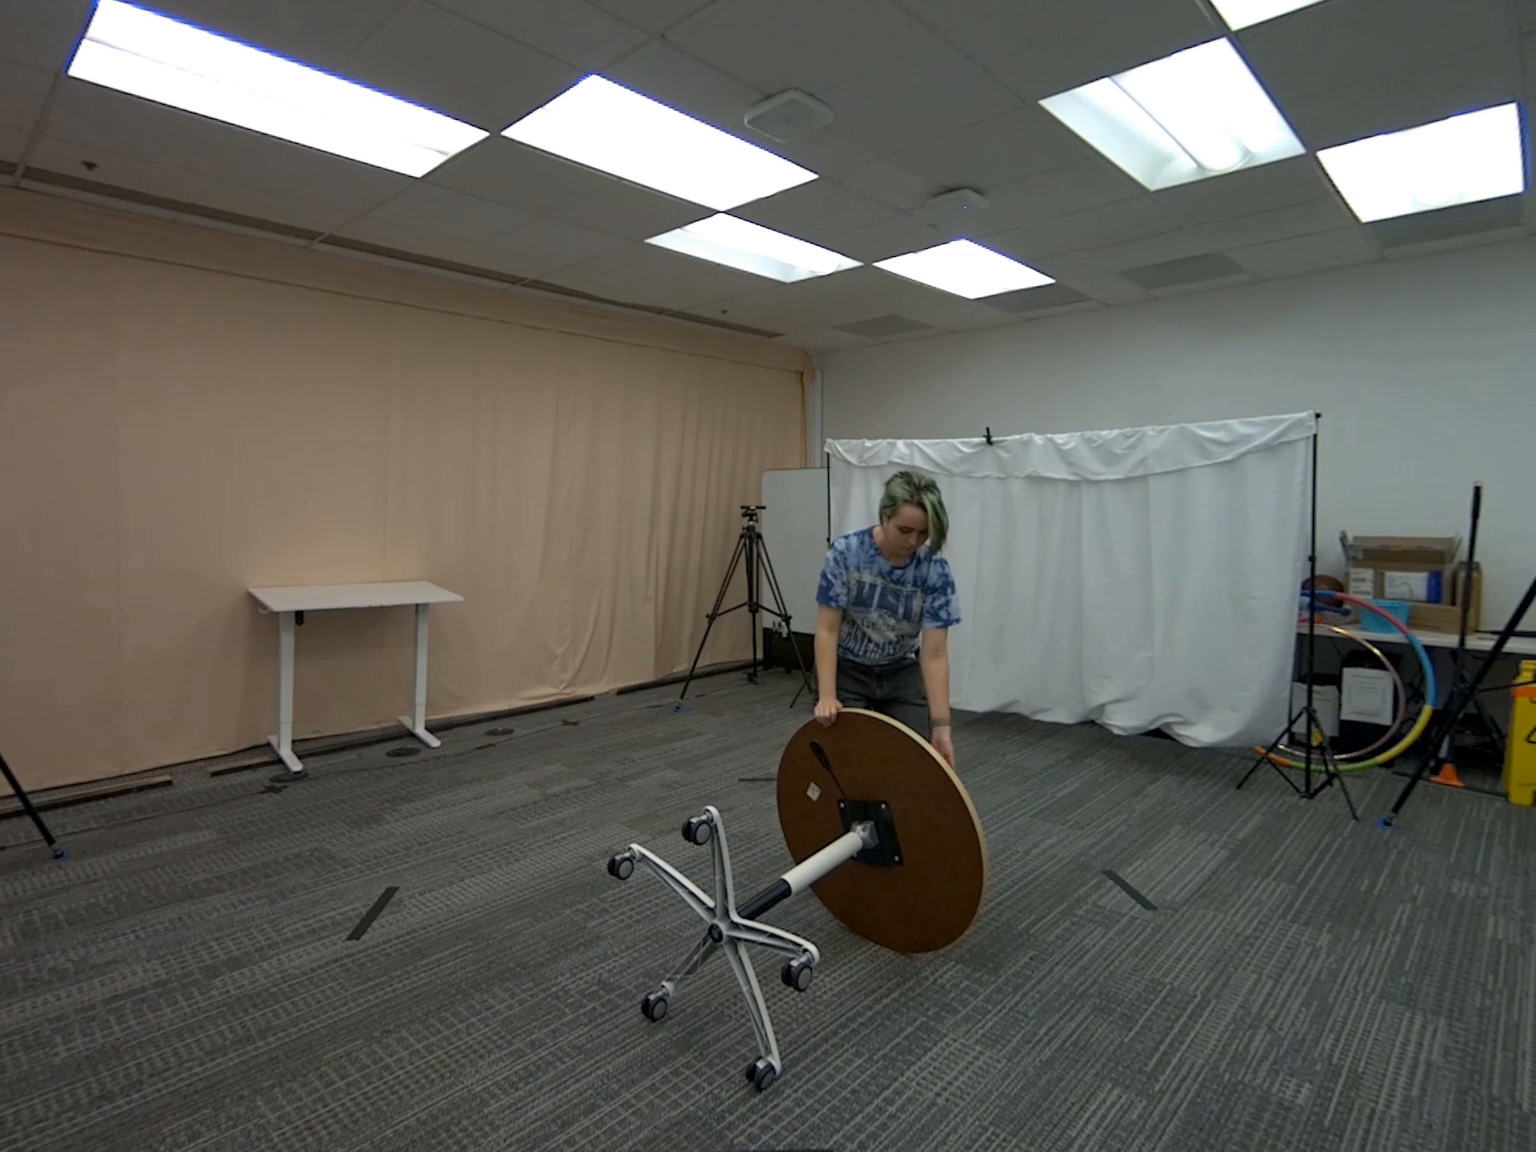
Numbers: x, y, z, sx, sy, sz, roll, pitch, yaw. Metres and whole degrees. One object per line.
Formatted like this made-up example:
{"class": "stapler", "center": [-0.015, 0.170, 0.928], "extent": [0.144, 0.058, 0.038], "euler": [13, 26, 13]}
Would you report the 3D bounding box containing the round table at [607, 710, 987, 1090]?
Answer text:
{"class": "round table", "center": [0.074, 0.858, 2.363], "extent": [0.789, 0.759, 0.773], "euler": [4, 12, 43]}
